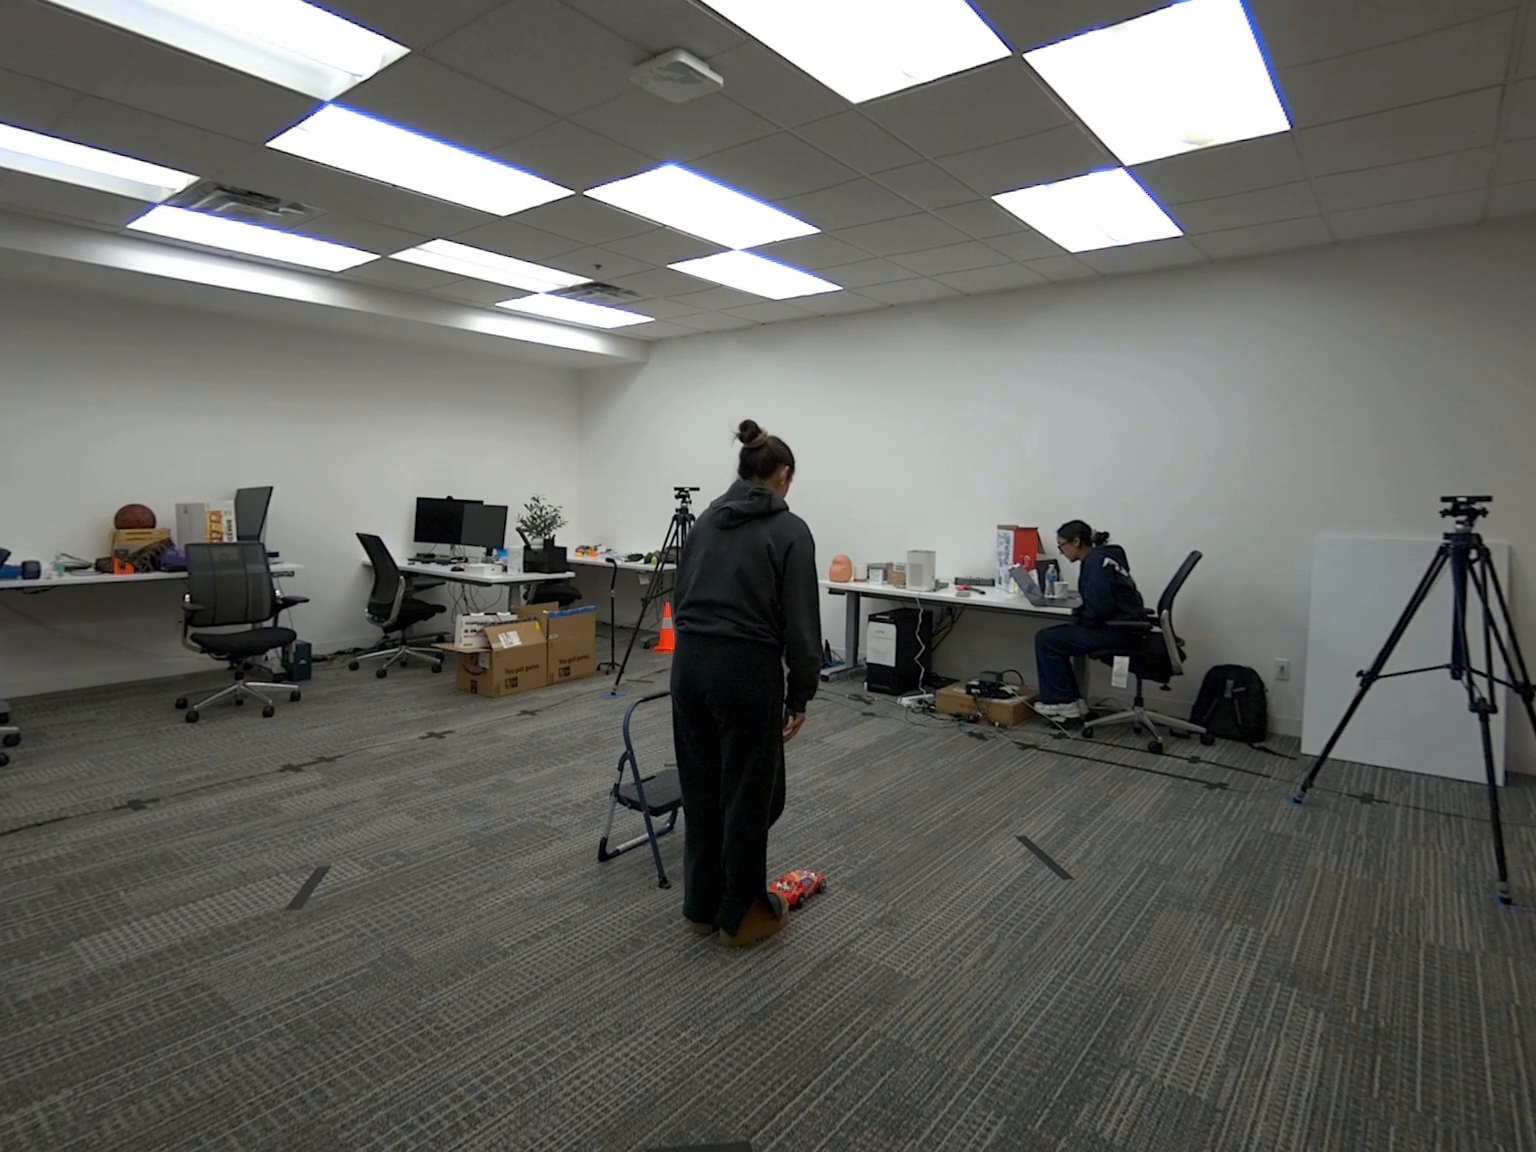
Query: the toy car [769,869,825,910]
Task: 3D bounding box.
[{"bbox_3d":[0.094,1.060,2.897,0.134,0.083,0.245,6,-4,35],"label":"toy car"}]
